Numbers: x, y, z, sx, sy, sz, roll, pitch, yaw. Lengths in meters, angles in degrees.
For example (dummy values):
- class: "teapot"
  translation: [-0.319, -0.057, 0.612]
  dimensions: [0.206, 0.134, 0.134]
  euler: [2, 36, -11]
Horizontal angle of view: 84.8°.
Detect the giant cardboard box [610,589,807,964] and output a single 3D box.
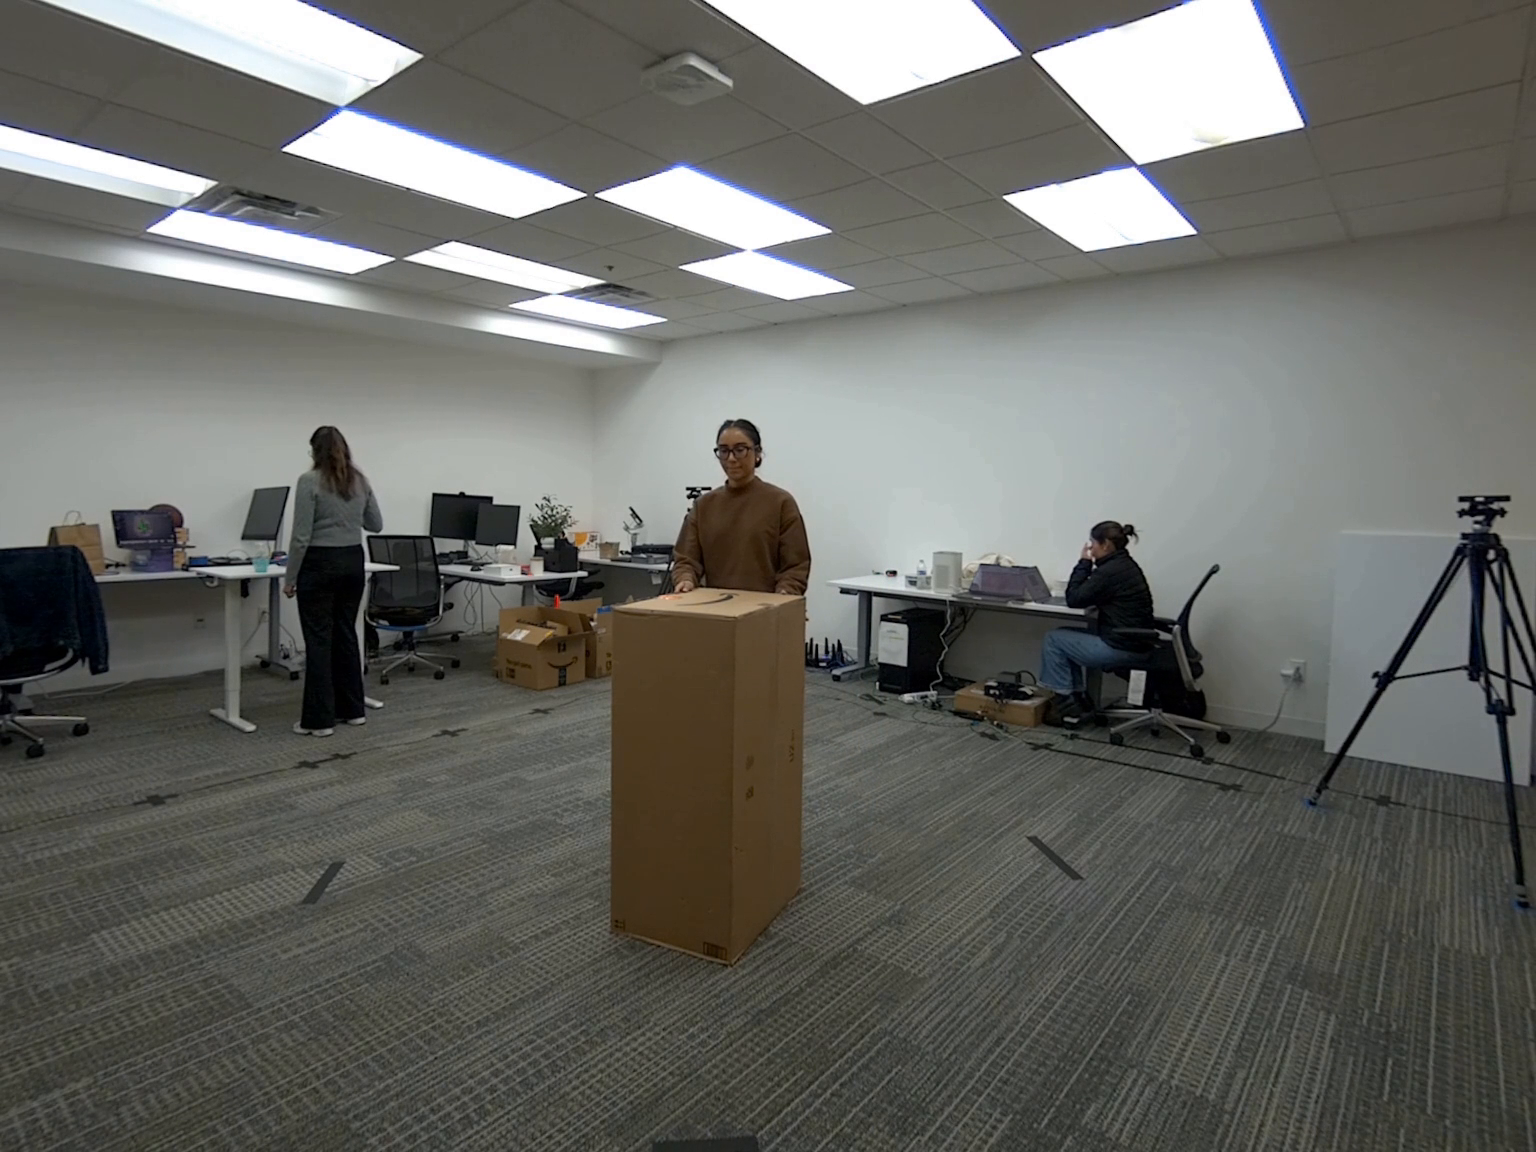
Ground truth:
- class: "giant cardboard box"
  translation: [-0.195, 0.588, 2.780]
  dimensions: [0.437, 1.023, 0.564]
  euler: [2, 3, 25]
